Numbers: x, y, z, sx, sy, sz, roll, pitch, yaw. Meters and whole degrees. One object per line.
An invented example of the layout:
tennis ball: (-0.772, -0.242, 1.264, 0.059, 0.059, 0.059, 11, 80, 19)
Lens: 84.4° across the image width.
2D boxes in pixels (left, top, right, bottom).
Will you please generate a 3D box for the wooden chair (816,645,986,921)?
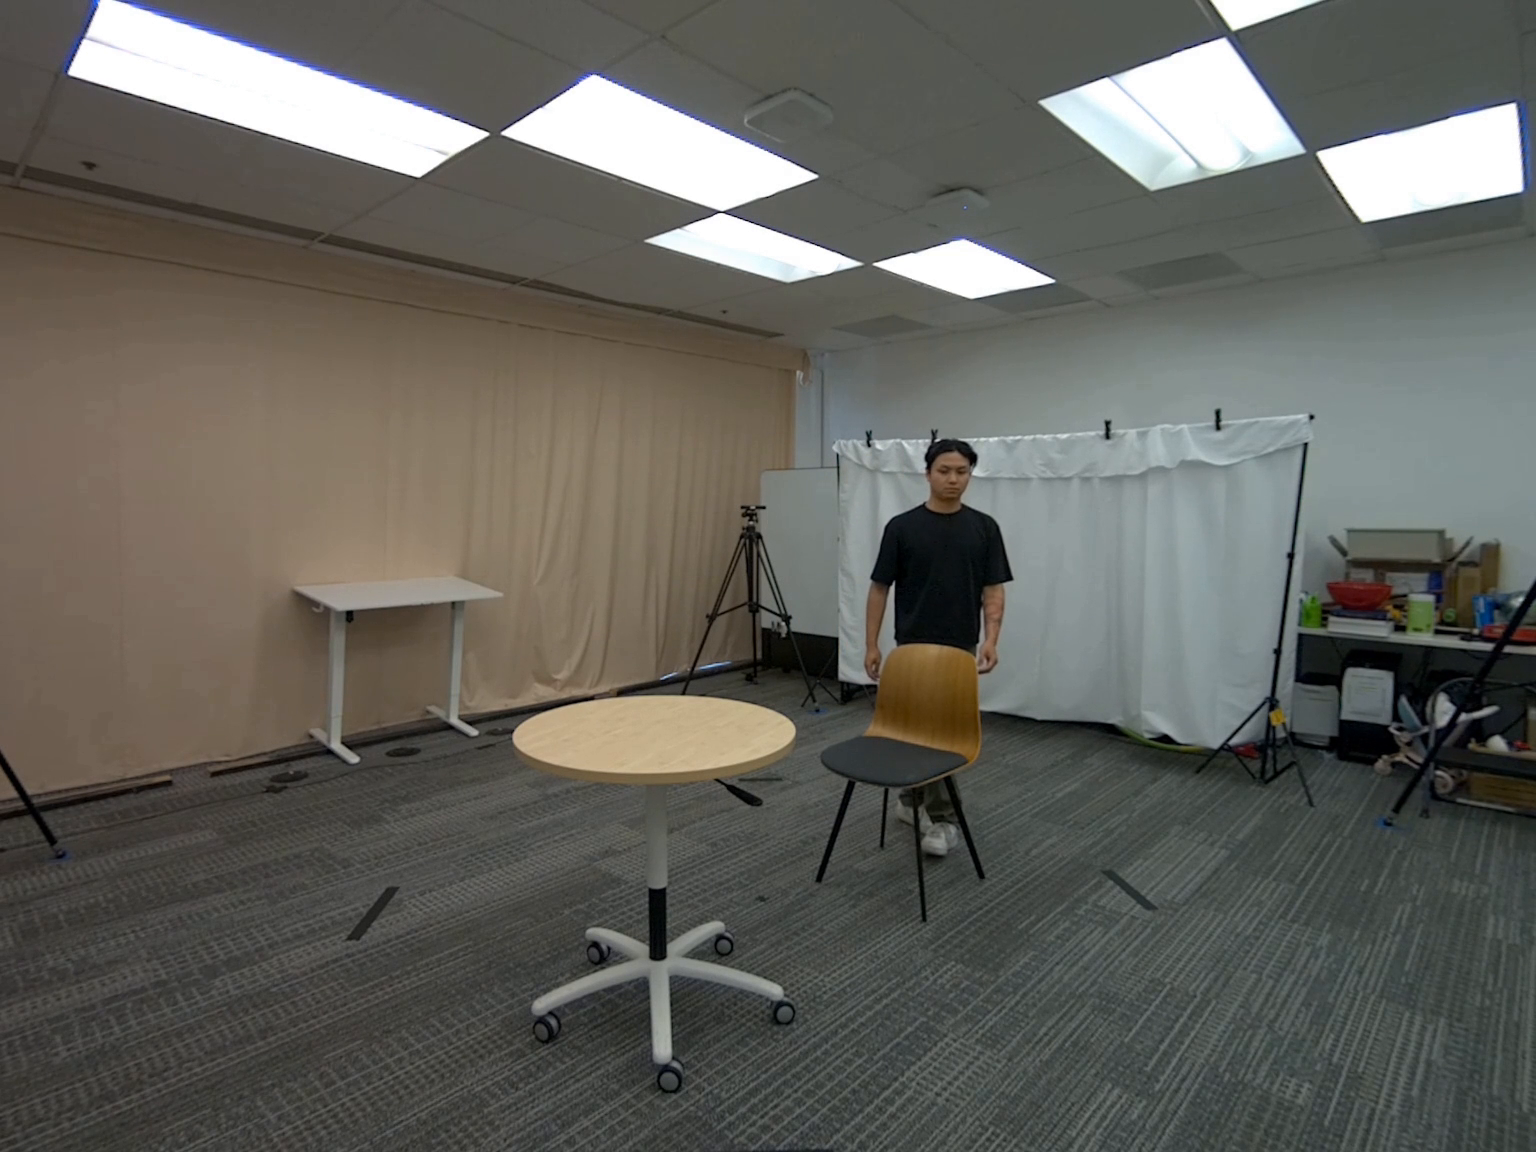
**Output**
wooden chair: (0.490, 0.704, 3.089, 0.494, 0.877, 0.506, 3, 0, 41)
